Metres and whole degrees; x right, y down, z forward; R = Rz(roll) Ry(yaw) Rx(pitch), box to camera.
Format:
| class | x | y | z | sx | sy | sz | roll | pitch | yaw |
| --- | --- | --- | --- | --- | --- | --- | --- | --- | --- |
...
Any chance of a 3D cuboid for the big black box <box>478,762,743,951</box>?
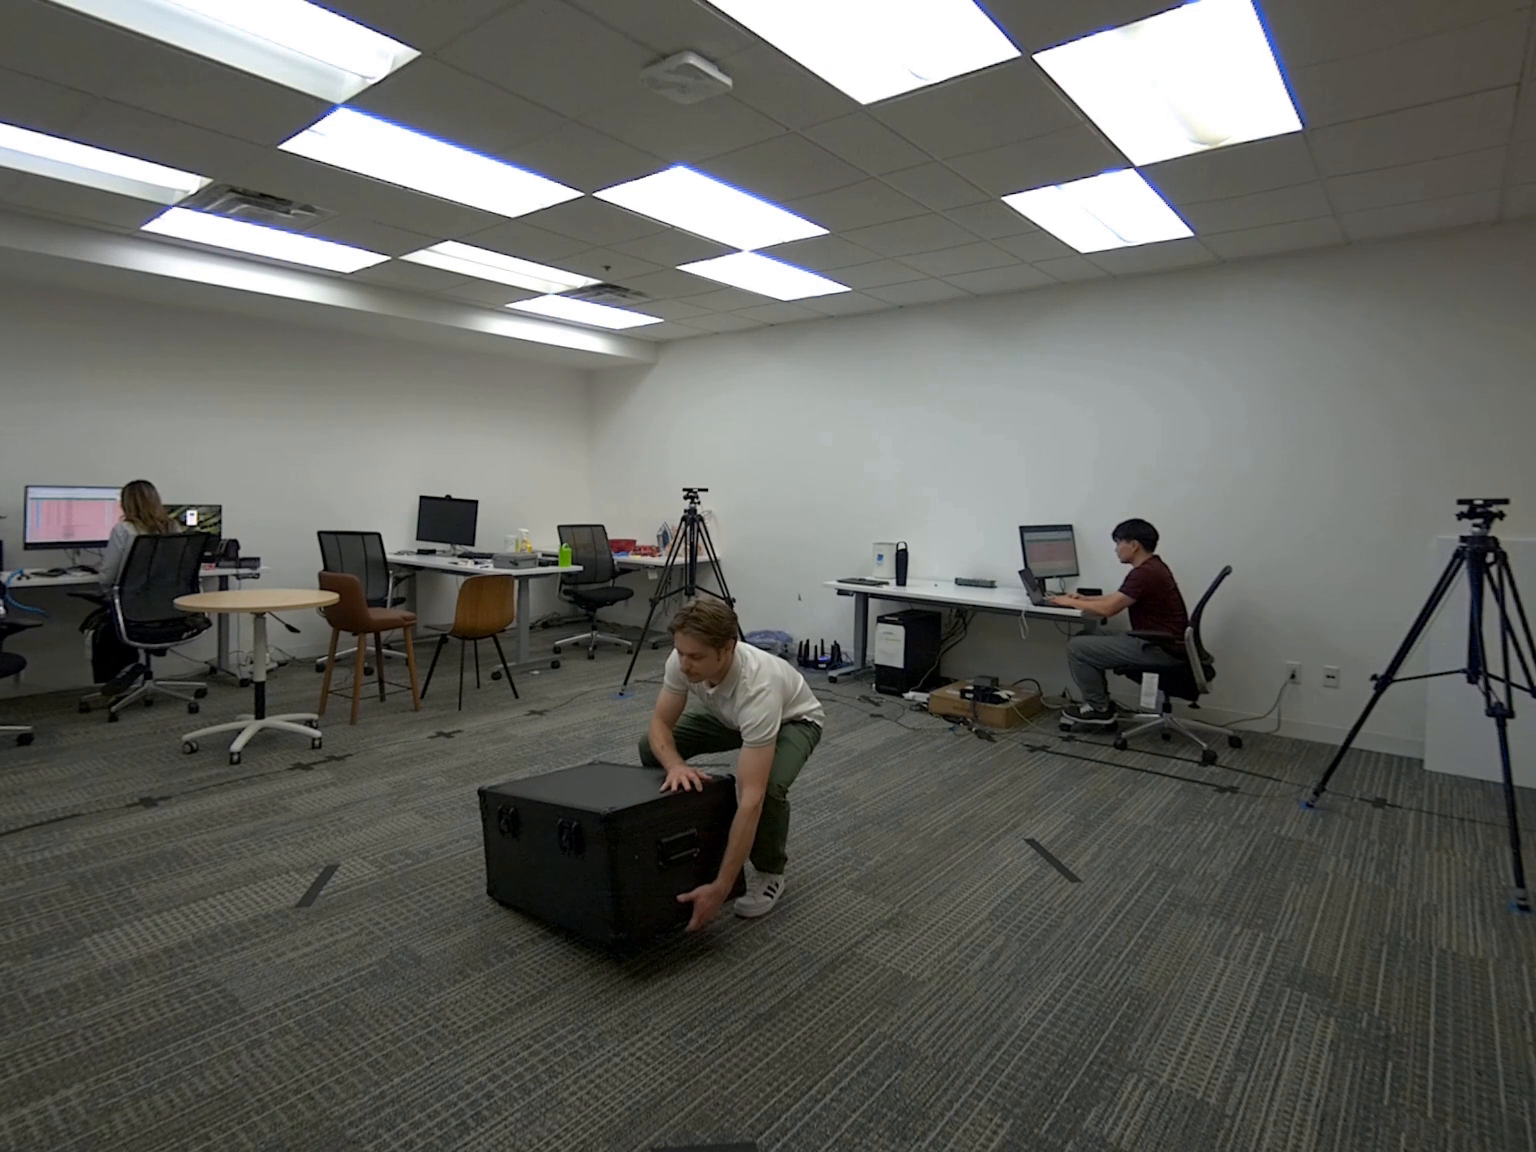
| class | x | y | z | sx | sy | sz | roll | pitch | yaw |
| --- | --- | --- | --- | --- | --- | --- | --- | --- | --- |
| big black box | -0.560 | 0.856 | 2.767 | 0.508 | 0.386 | 0.892 | -5 | -2 | -42 |
